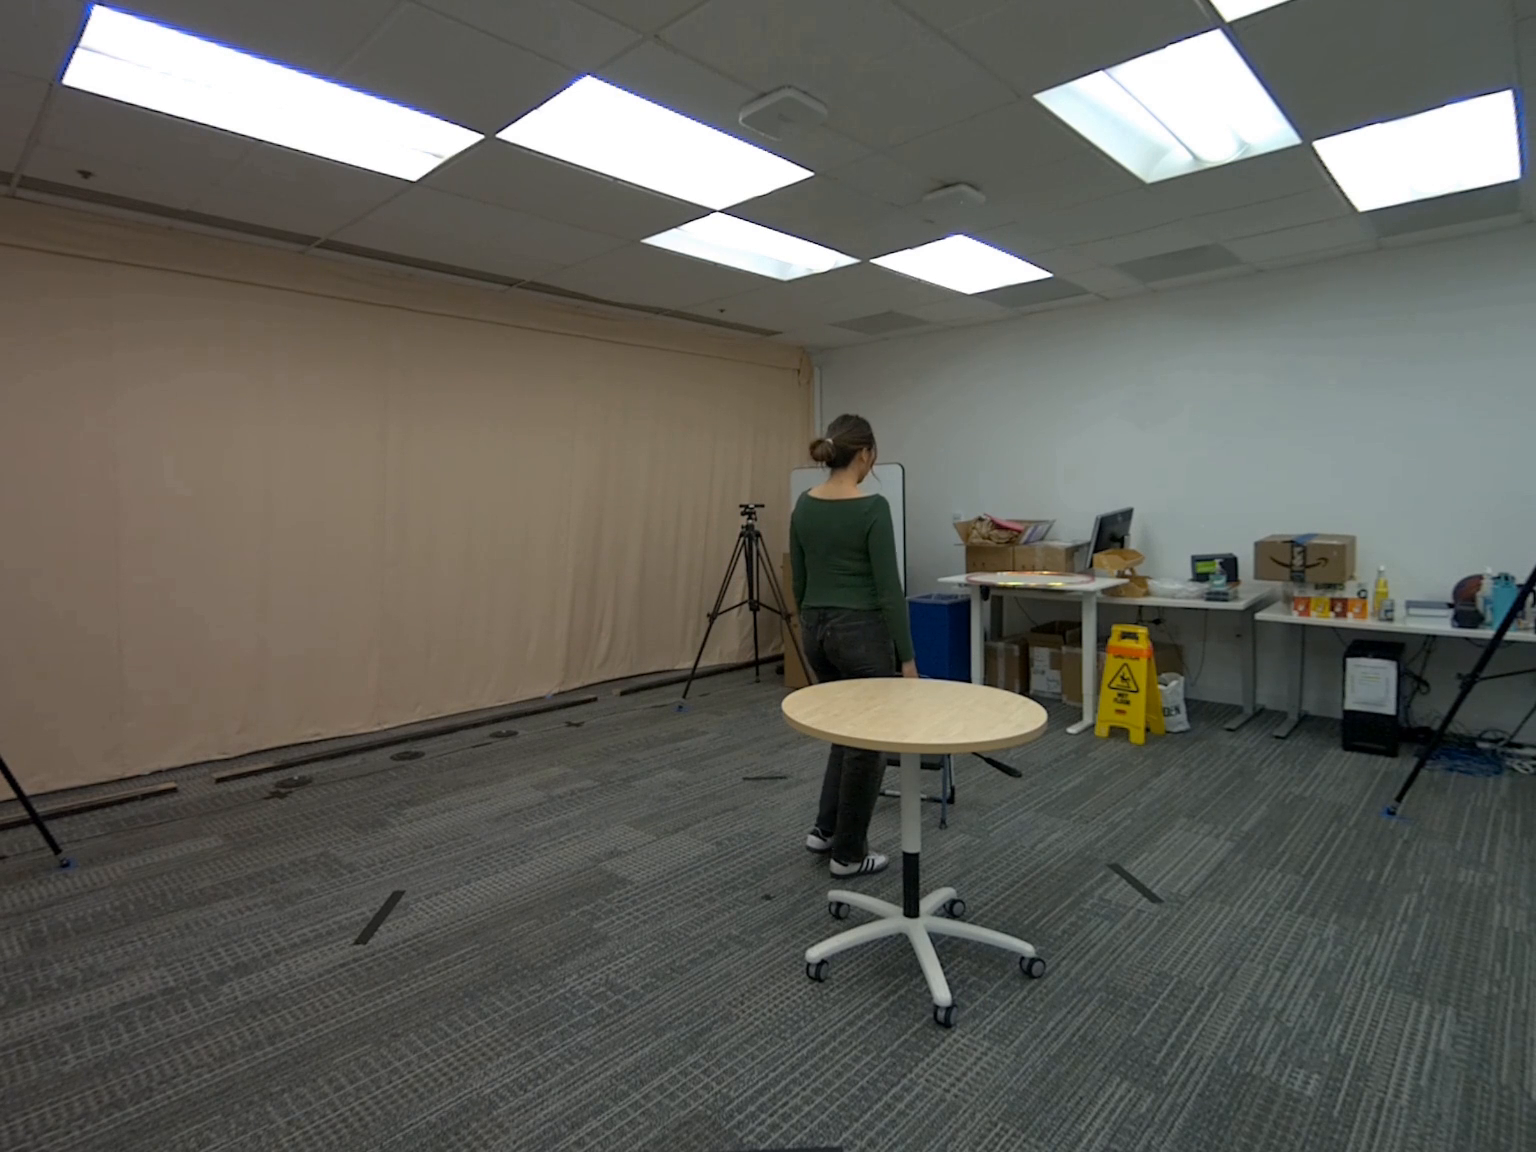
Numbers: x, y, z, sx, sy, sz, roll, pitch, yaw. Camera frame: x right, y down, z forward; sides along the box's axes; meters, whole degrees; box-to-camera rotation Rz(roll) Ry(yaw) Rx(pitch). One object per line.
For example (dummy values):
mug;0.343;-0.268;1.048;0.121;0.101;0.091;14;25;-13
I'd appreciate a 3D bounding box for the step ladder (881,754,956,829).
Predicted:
step ladder;0.619;0.756;3.805;0.440;0.605;0.342;1;3;21
